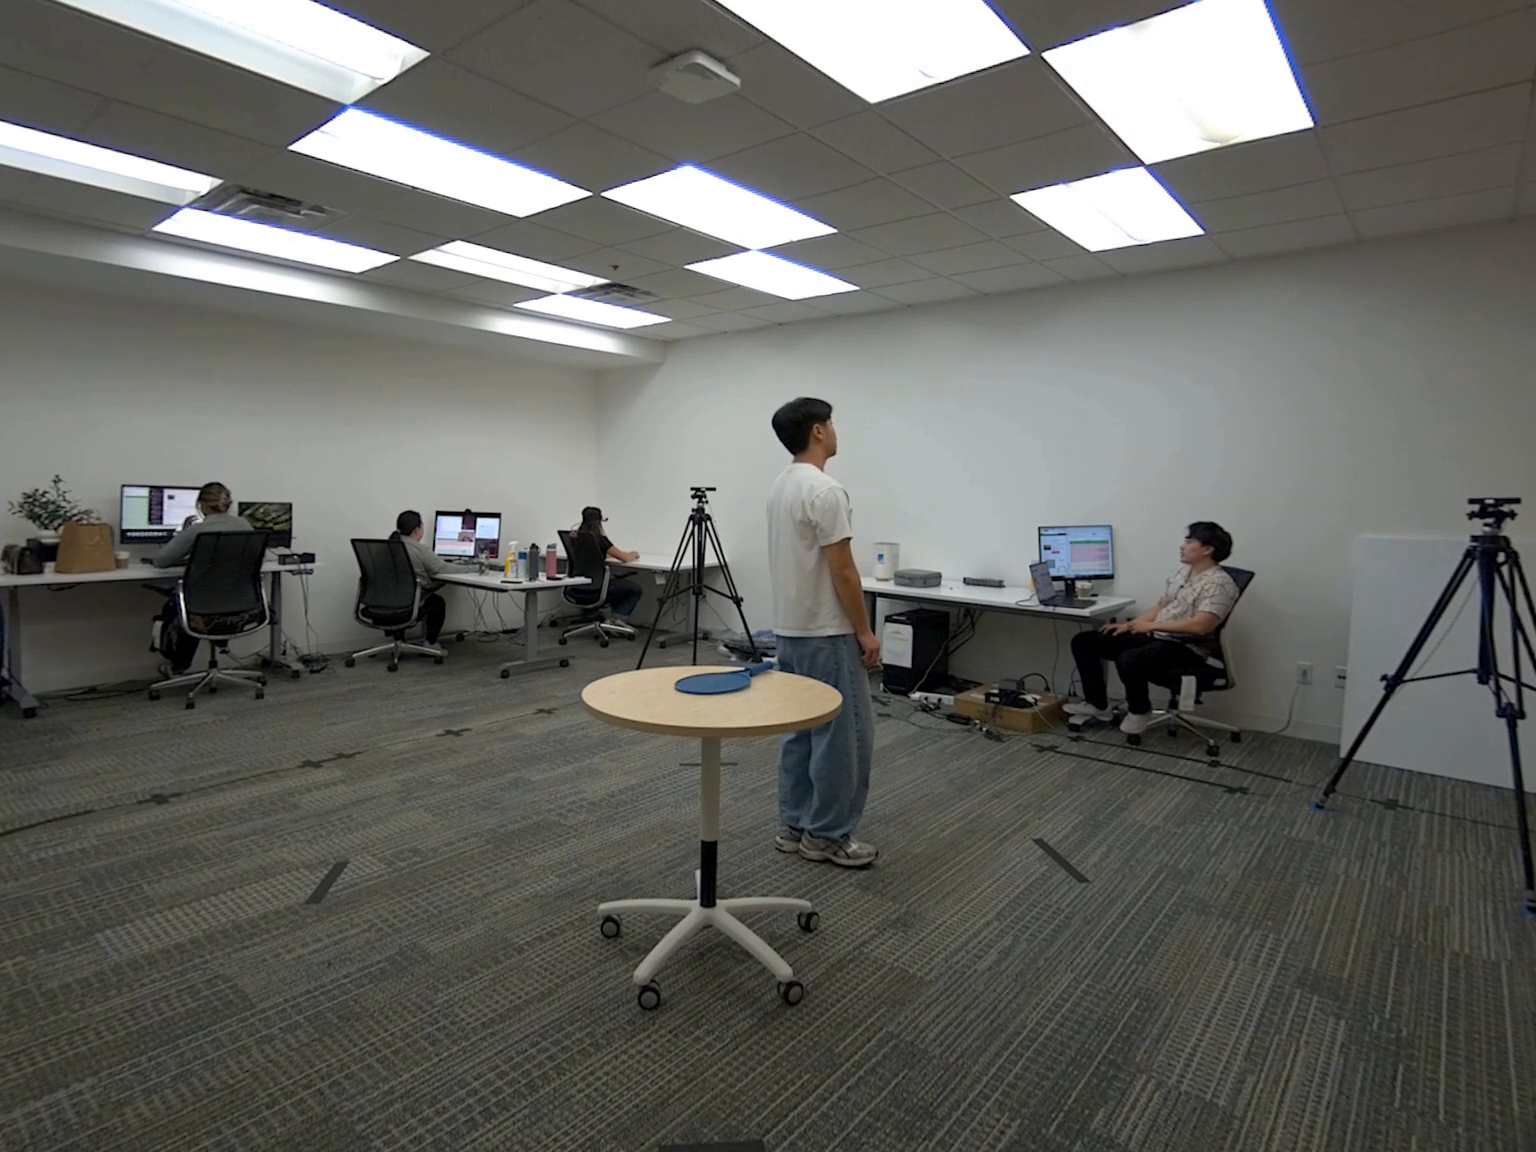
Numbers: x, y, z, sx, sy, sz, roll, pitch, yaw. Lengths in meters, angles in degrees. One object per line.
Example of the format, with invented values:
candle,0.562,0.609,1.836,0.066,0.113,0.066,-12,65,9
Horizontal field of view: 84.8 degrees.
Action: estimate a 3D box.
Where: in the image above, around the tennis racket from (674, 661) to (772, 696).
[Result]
tennis racket,-0.124,0.321,2.664,0.221,0.031,0.421,5,9,38
